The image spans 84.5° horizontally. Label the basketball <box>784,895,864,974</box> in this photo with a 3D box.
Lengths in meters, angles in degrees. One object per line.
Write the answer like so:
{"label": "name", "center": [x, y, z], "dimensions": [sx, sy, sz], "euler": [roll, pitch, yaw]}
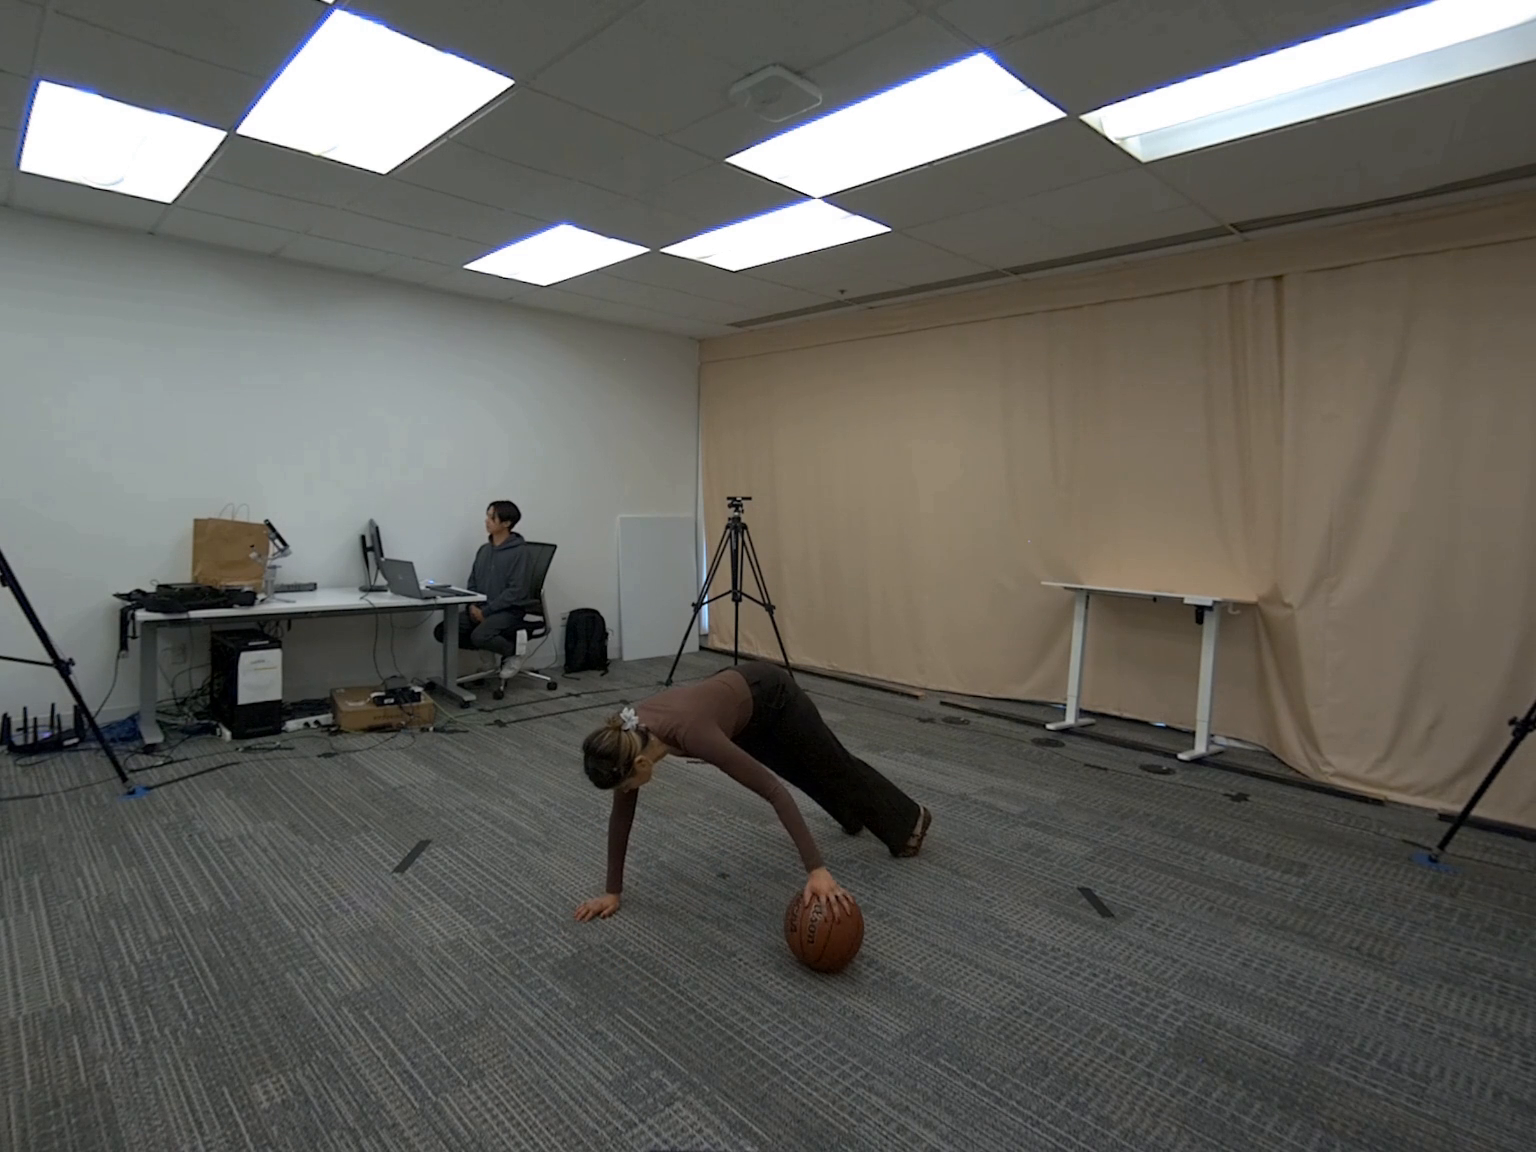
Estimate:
{"label": "basketball", "center": [0.151, 1.050, 2.519], "dimensions": [0.236, 0.235, 0.237], "euler": [1, 4, -1]}
